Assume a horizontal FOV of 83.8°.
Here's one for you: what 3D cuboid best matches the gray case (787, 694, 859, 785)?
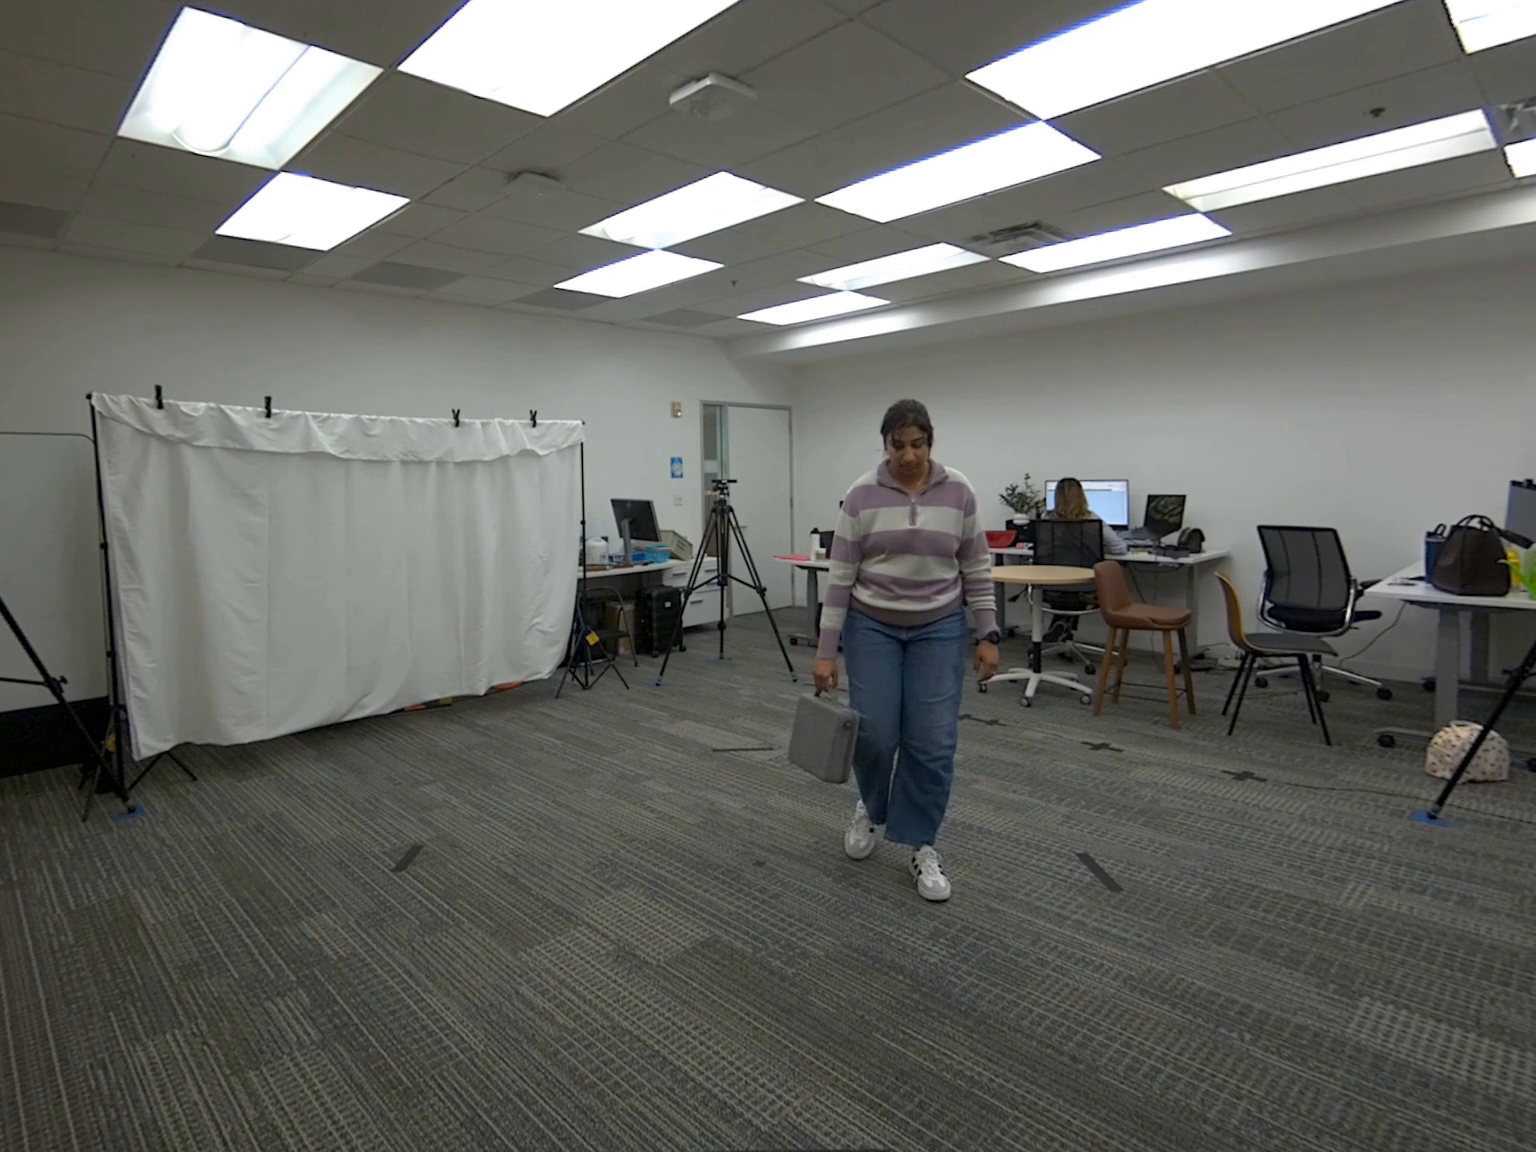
[{"bbox_3d":[0.197,0.550,2.928,0.101,0.260,0.264,8,1,-29],"label":"gray case"}]
